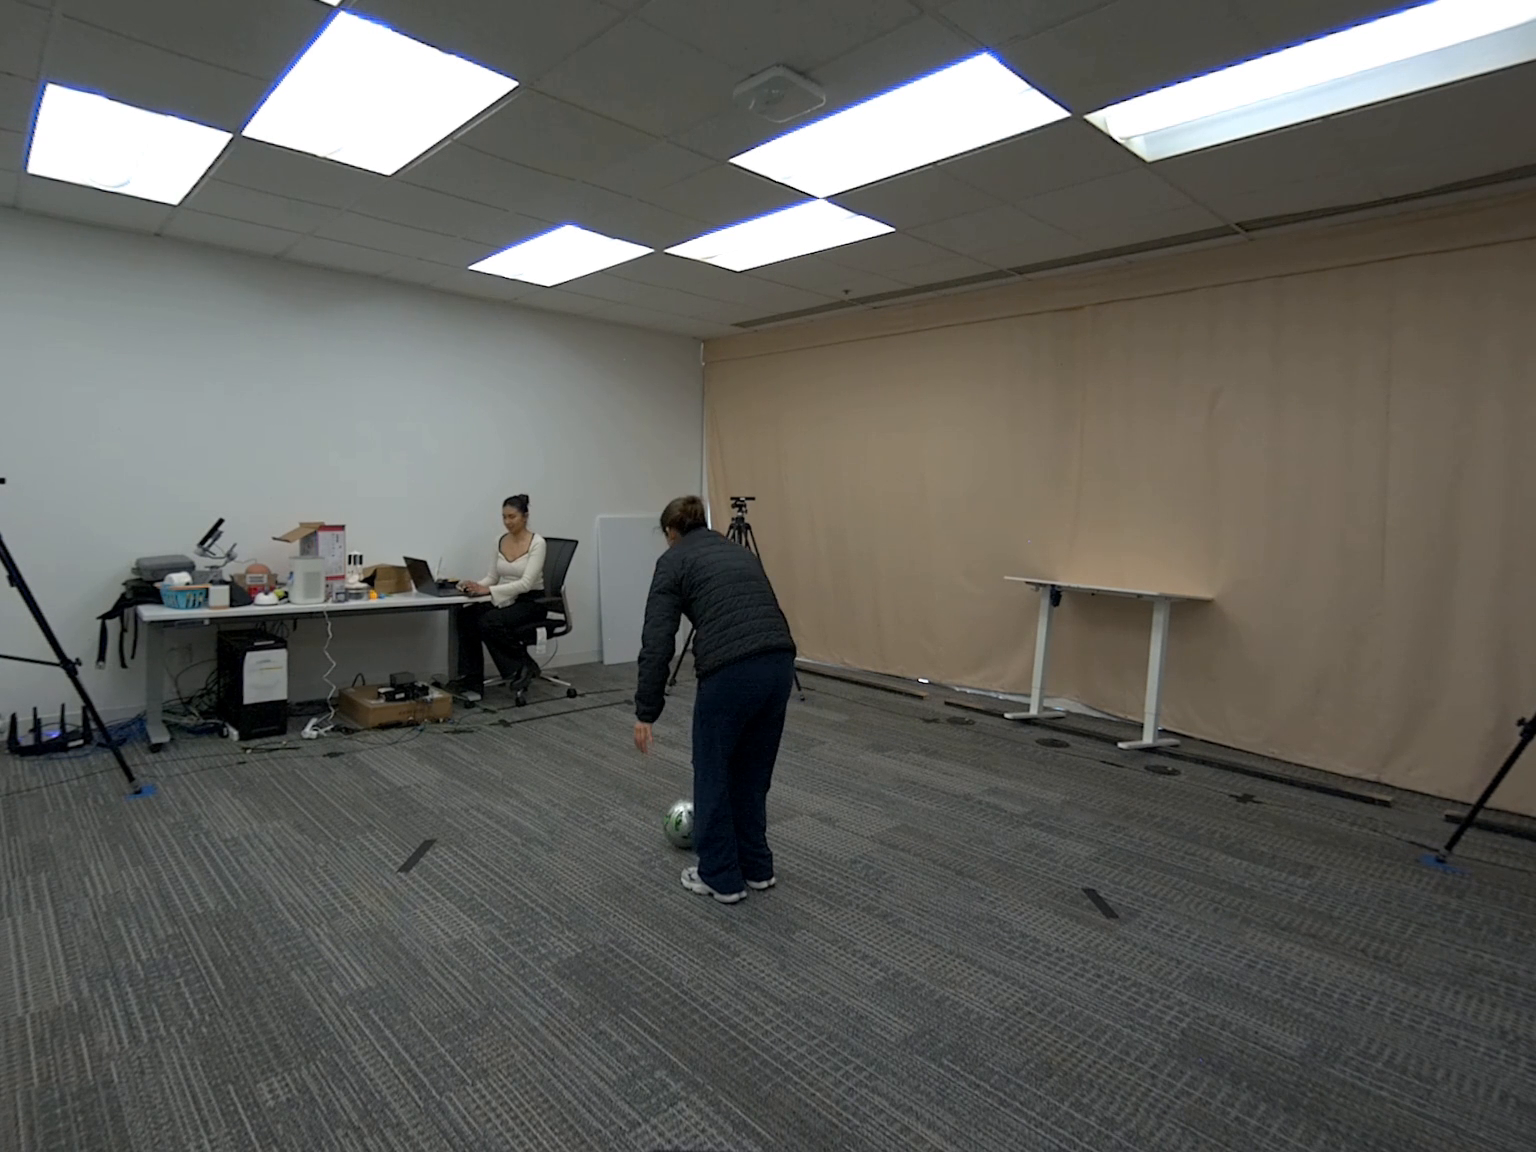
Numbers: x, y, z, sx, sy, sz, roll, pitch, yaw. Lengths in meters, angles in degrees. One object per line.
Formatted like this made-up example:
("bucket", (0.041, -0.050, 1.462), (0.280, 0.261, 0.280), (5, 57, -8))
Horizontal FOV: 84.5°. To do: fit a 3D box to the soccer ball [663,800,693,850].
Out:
("soccer ball", (-0.335, 0.983, 3.357), (0.187, 0.187, 0.188), (1, 4, -1))
